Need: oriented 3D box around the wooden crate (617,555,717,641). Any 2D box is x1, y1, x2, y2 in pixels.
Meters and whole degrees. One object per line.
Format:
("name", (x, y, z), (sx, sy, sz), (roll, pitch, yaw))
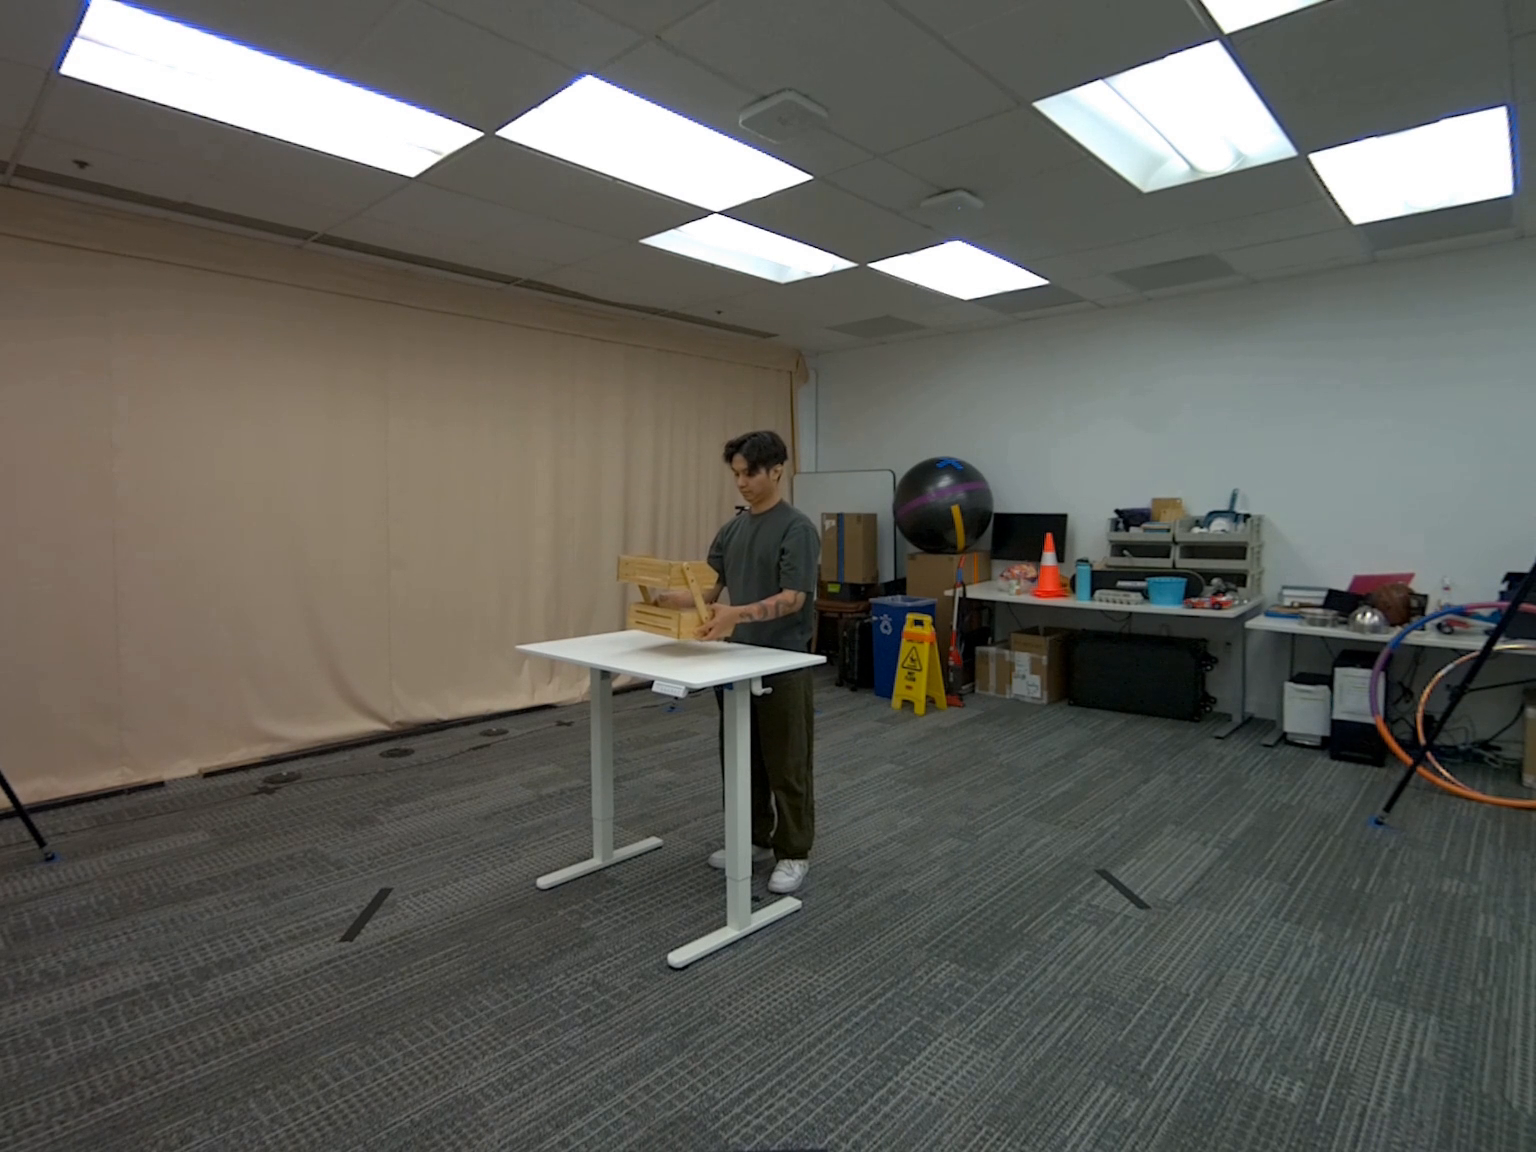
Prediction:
("wooden crate", (-0.319, 0.067, 2.952), (0.292, 0.273, 0.335), (0, 4, -43))
